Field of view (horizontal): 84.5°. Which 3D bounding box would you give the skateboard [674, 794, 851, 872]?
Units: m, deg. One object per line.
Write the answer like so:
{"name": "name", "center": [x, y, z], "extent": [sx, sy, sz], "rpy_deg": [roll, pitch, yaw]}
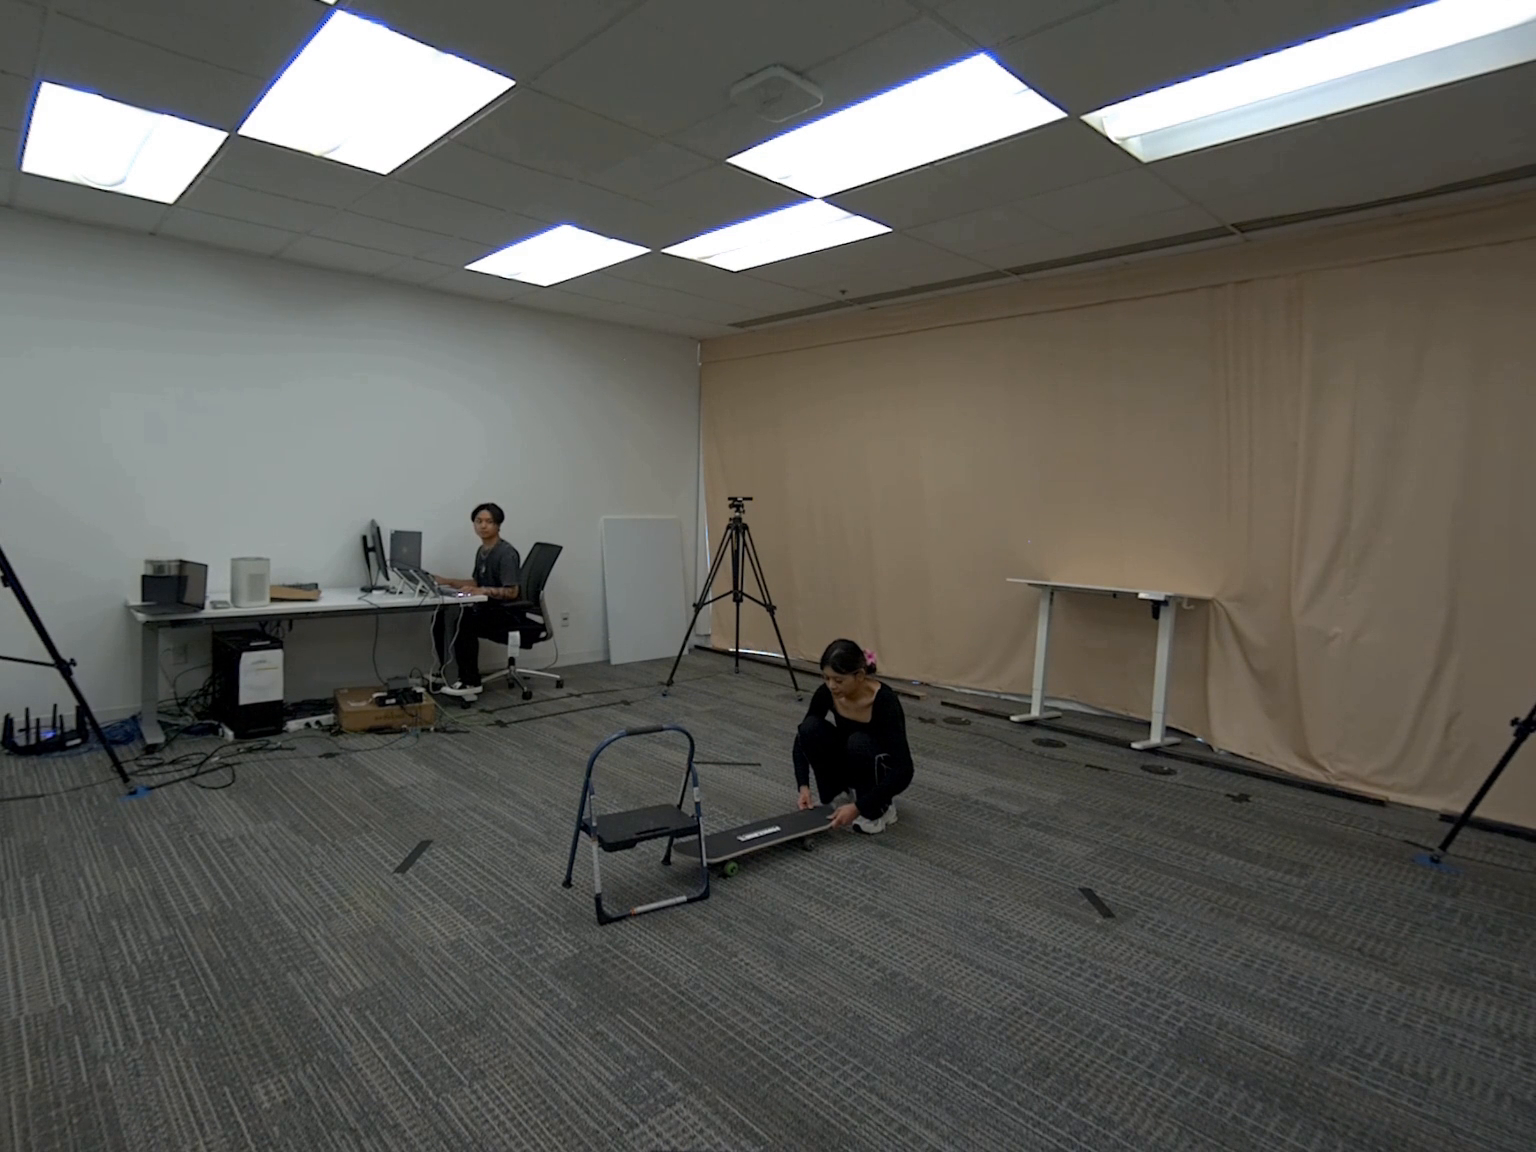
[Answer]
{"name": "skateboard", "center": [-0.043, 1.038, 3.284], "extent": [0.768, 0.110, 0.198], "rpy_deg": [-2, 6, -39]}
